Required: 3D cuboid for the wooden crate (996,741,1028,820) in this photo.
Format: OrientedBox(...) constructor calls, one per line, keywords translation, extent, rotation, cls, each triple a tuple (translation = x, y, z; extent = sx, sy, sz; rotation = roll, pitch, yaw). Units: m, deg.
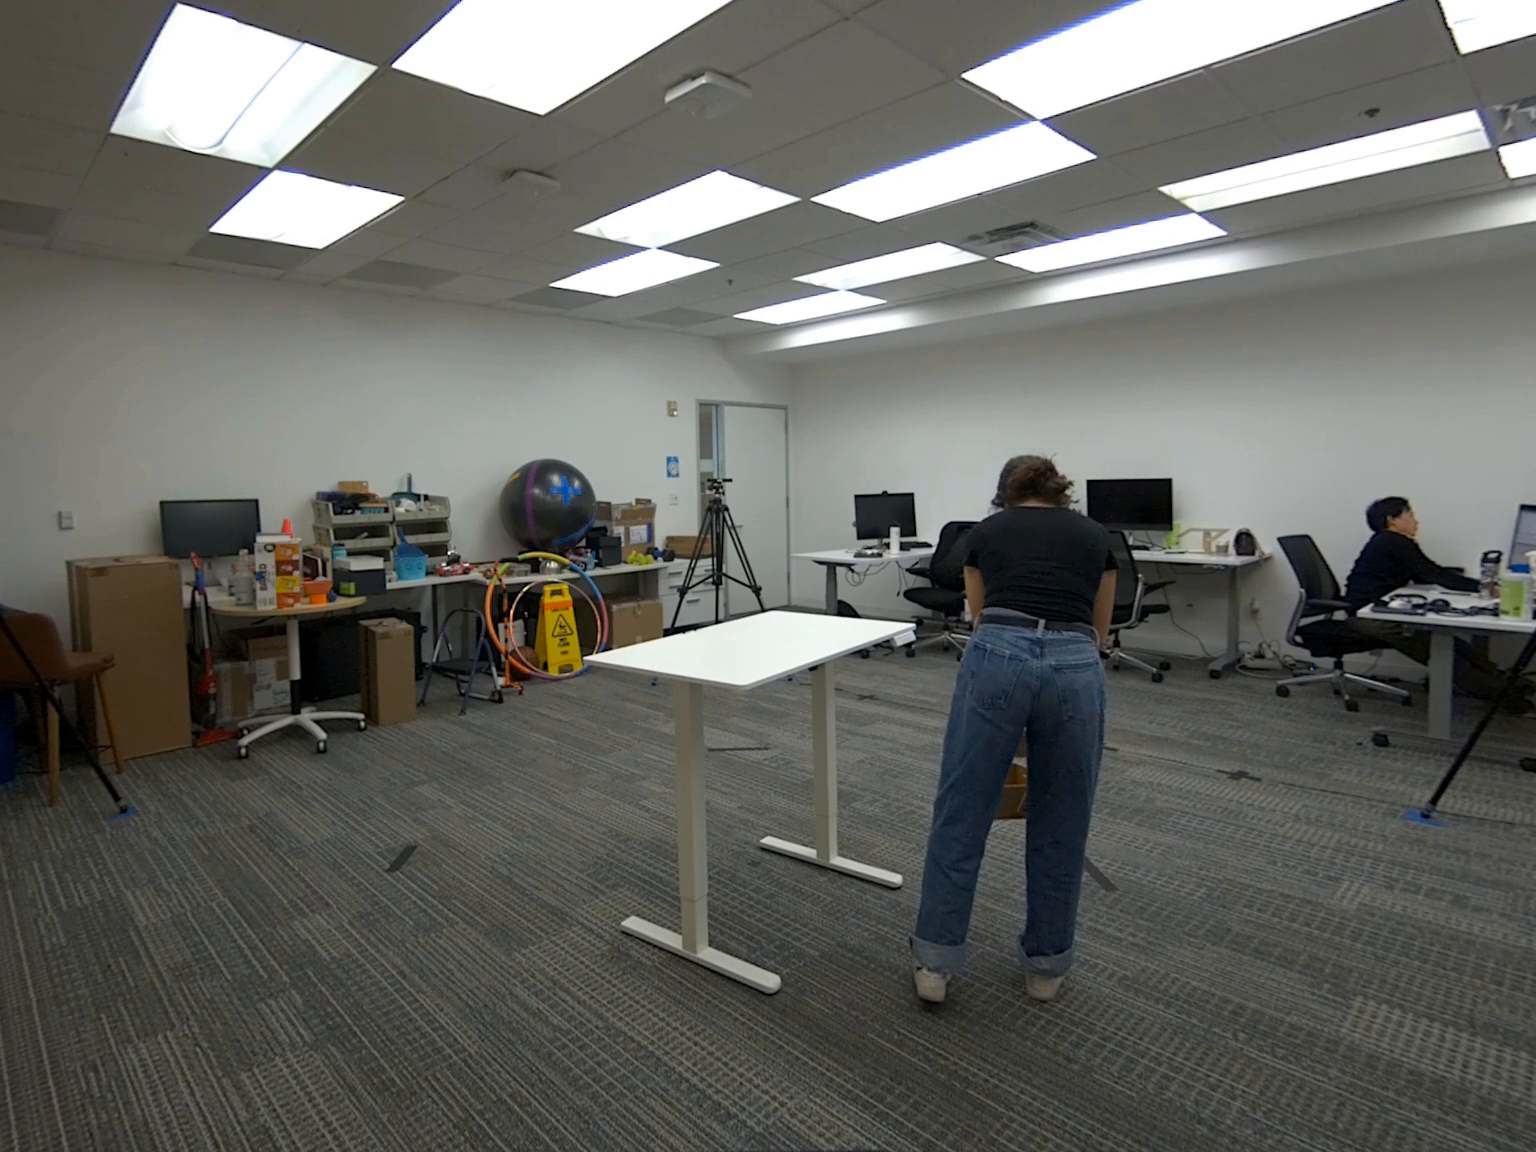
OrientedBox(translation=(0.735, 0.561, 2.547), extent=(0.299, 0.274, 0.326), rotation=(0, -1, -9), cls="wooden crate")
